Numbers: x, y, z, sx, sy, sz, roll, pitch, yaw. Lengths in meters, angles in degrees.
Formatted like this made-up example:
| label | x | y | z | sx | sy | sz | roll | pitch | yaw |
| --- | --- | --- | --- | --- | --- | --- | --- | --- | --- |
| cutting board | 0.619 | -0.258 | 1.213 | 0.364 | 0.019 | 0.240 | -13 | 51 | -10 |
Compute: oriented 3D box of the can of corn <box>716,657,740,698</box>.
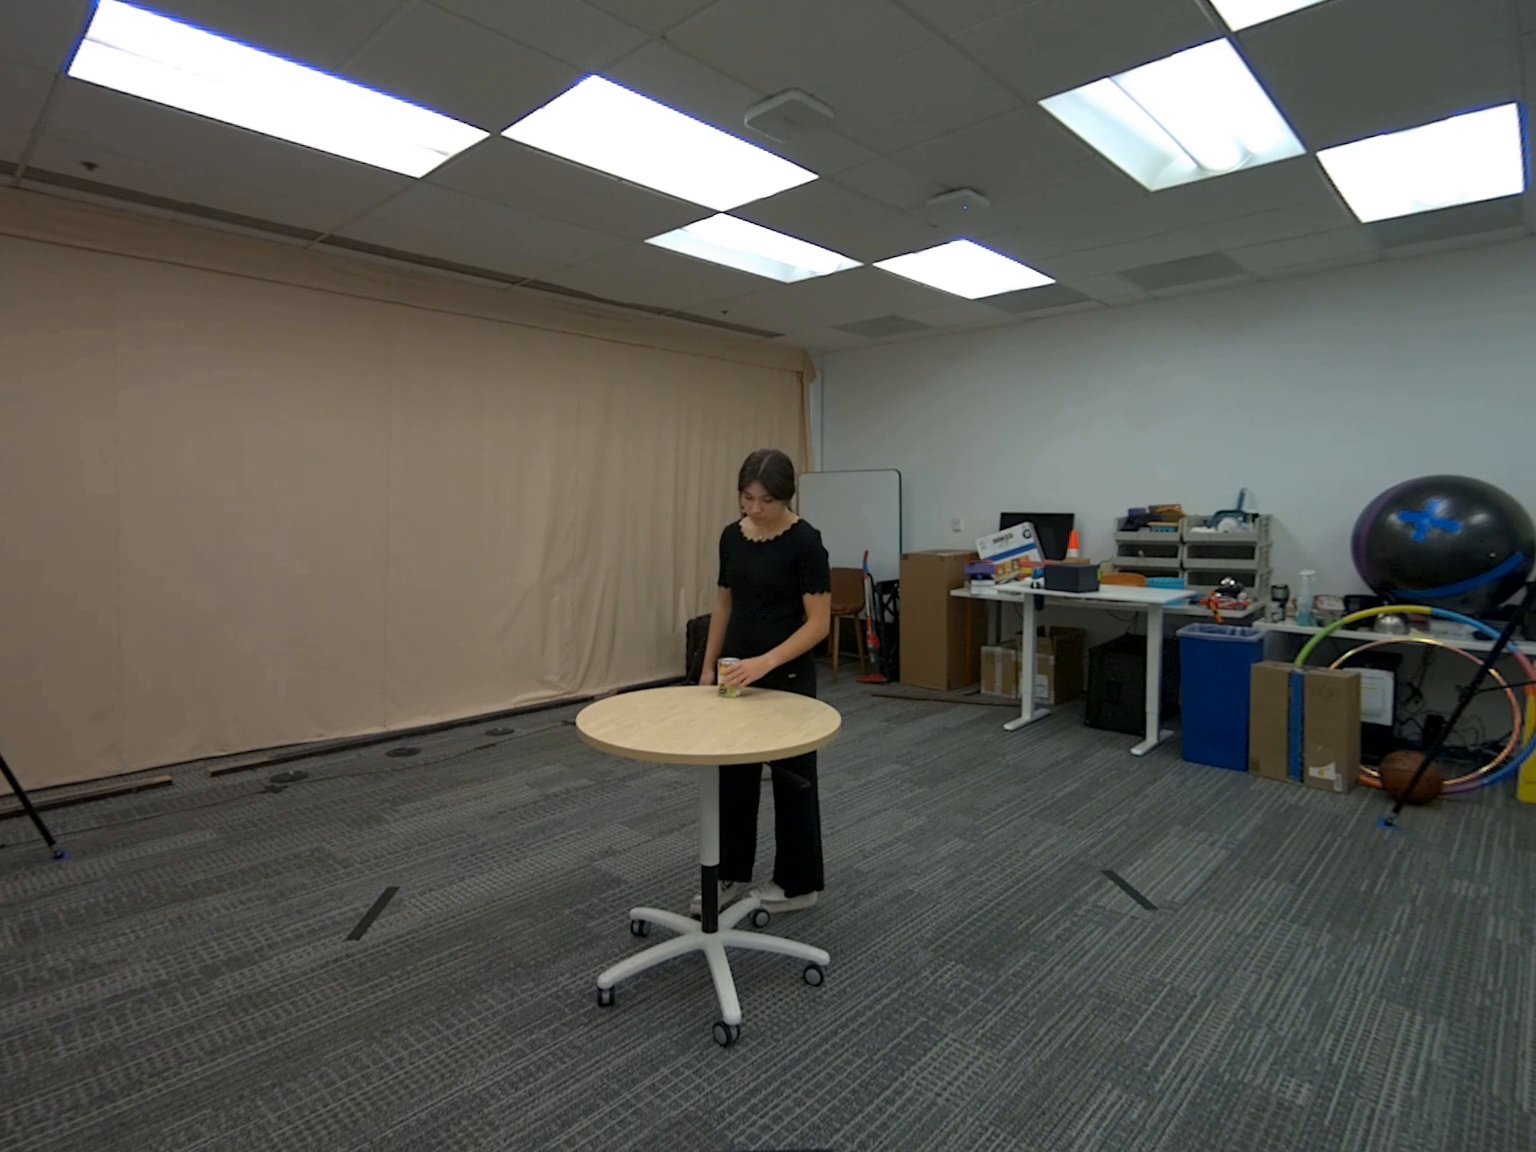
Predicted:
| label | x | y | z | sx | sy | sz | roll | pitch | yaw |
| --- | --- | --- | --- | --- | --- | --- | --- | --- | --- |
| can of corn | -0.116 | 0.325 | 2.701 | 0.074 | 0.111 | 0.074 | 1 | 4 | -2 |
